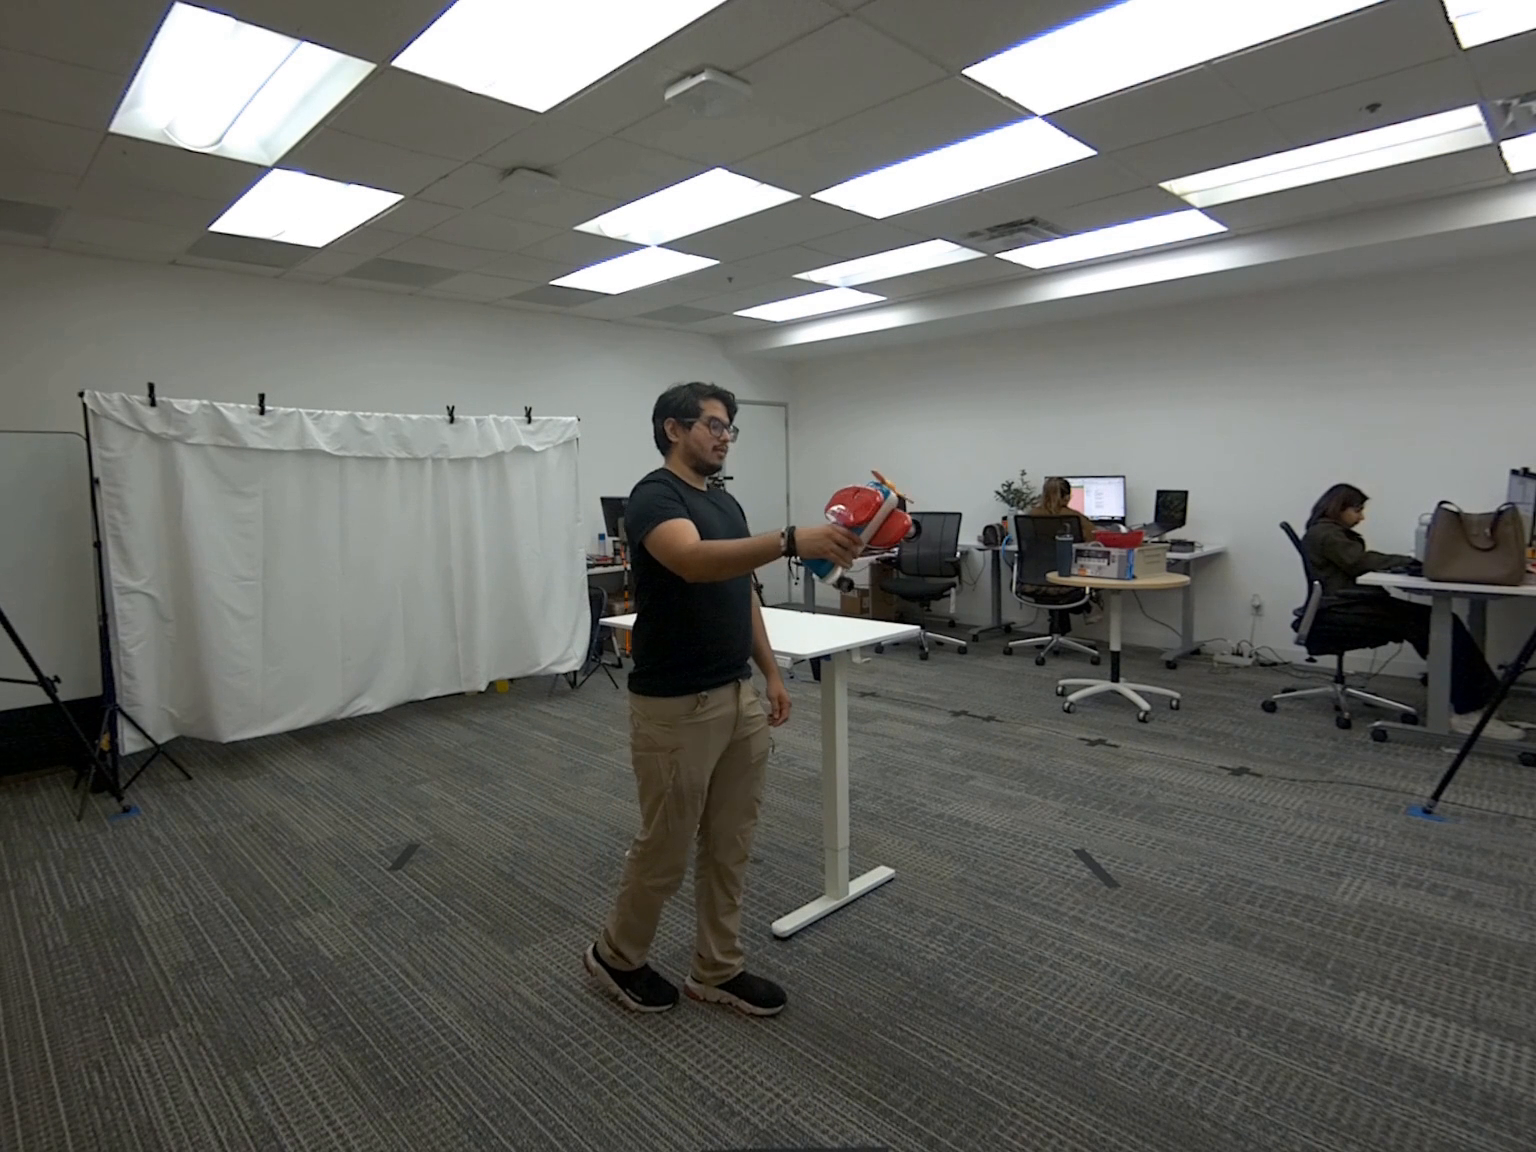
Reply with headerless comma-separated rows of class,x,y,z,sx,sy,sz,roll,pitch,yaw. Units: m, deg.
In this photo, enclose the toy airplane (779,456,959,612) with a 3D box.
toy airplane,0.210,-0.087,1.825,0.255,0.153,0.259,-17,26,52
